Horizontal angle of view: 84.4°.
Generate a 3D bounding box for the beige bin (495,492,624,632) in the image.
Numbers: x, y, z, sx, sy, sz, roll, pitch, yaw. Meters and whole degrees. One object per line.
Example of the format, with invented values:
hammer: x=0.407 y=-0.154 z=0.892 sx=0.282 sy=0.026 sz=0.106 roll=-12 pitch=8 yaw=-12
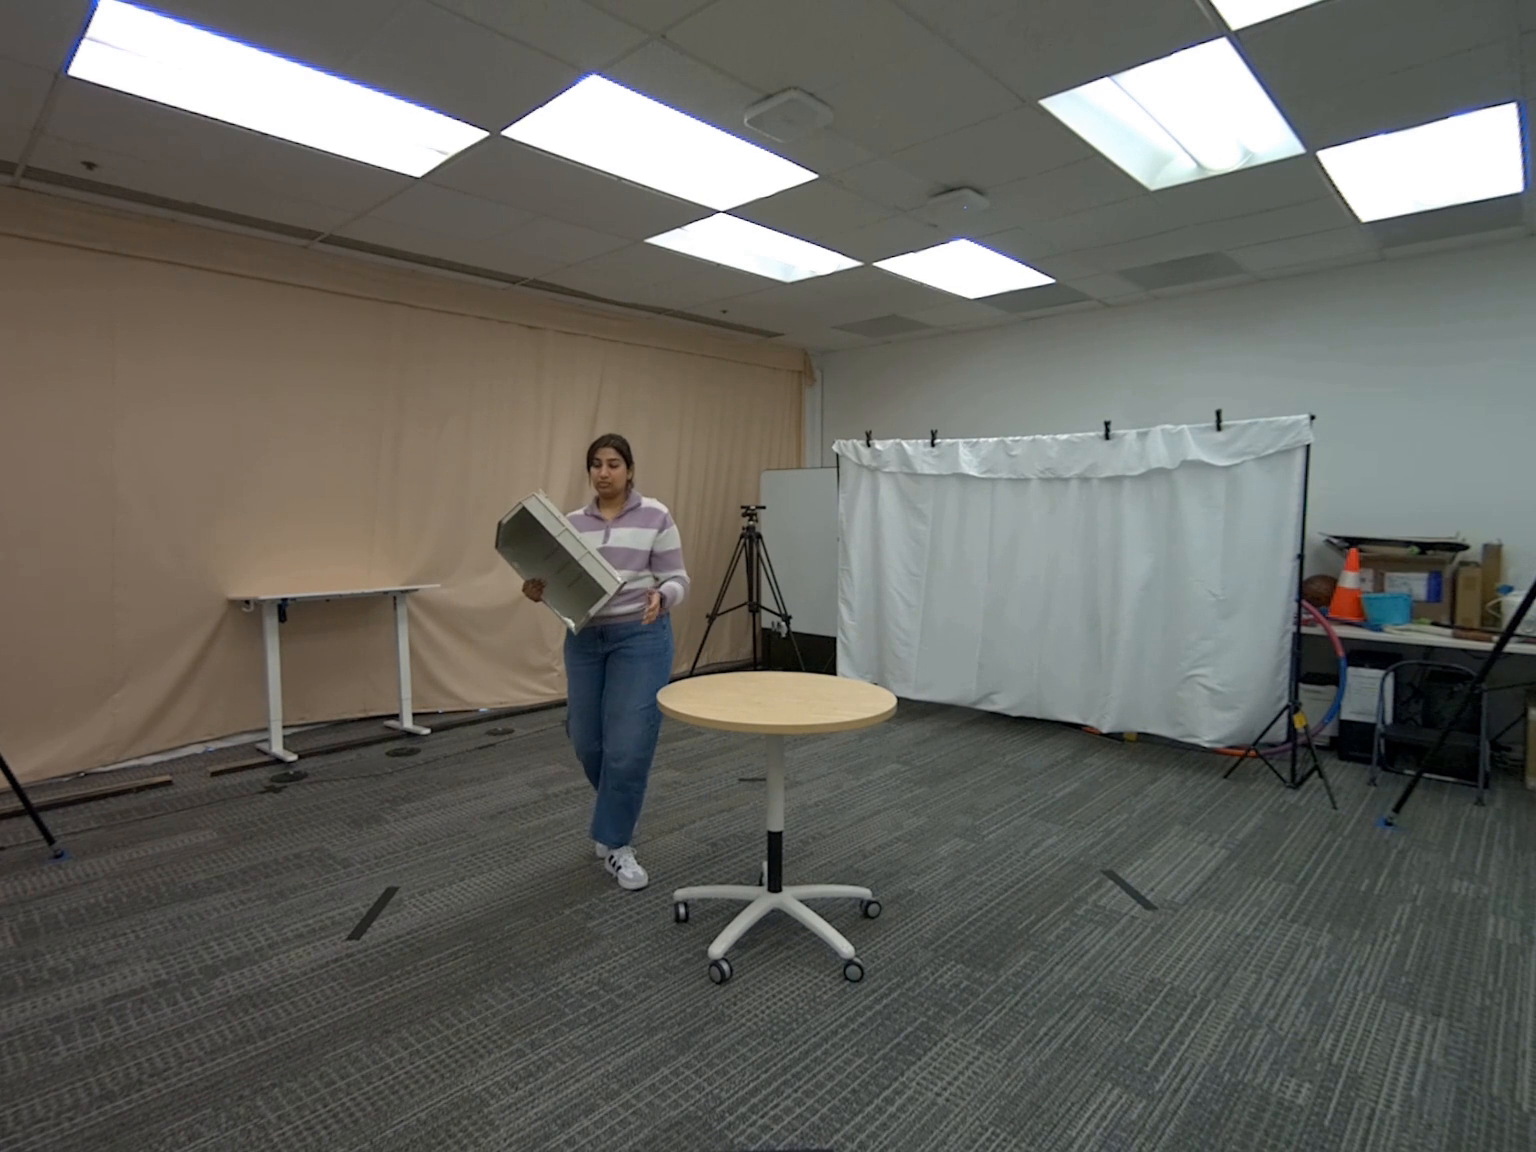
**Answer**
beige bin: x=-0.695 y=-0.040 z=2.813 sx=0.188 sy=0.422 sz=0.380 roll=-44 pitch=1 yaw=-22
